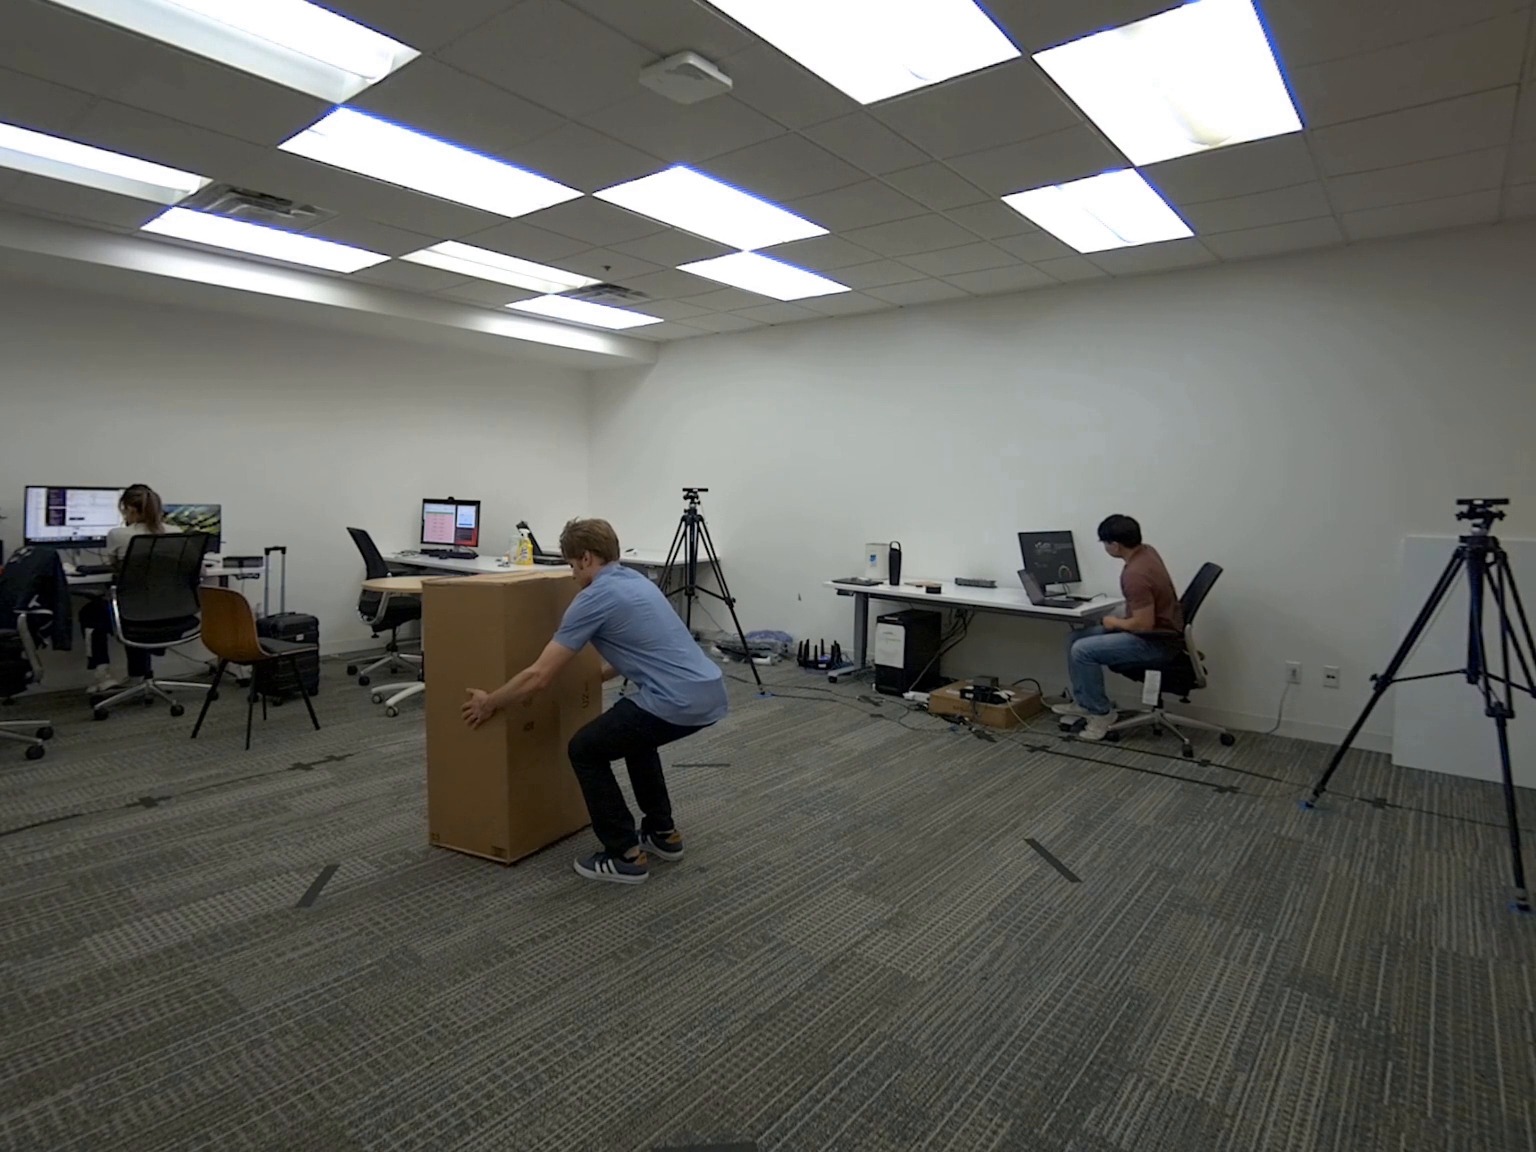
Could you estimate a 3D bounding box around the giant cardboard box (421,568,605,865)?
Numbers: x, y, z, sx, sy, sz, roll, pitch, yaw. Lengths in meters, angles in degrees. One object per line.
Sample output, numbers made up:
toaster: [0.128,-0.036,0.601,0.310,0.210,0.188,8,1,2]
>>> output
giant cardboard box: [-1.024,0.505,3.414,0.438,1.024,0.563,0,2,28]
